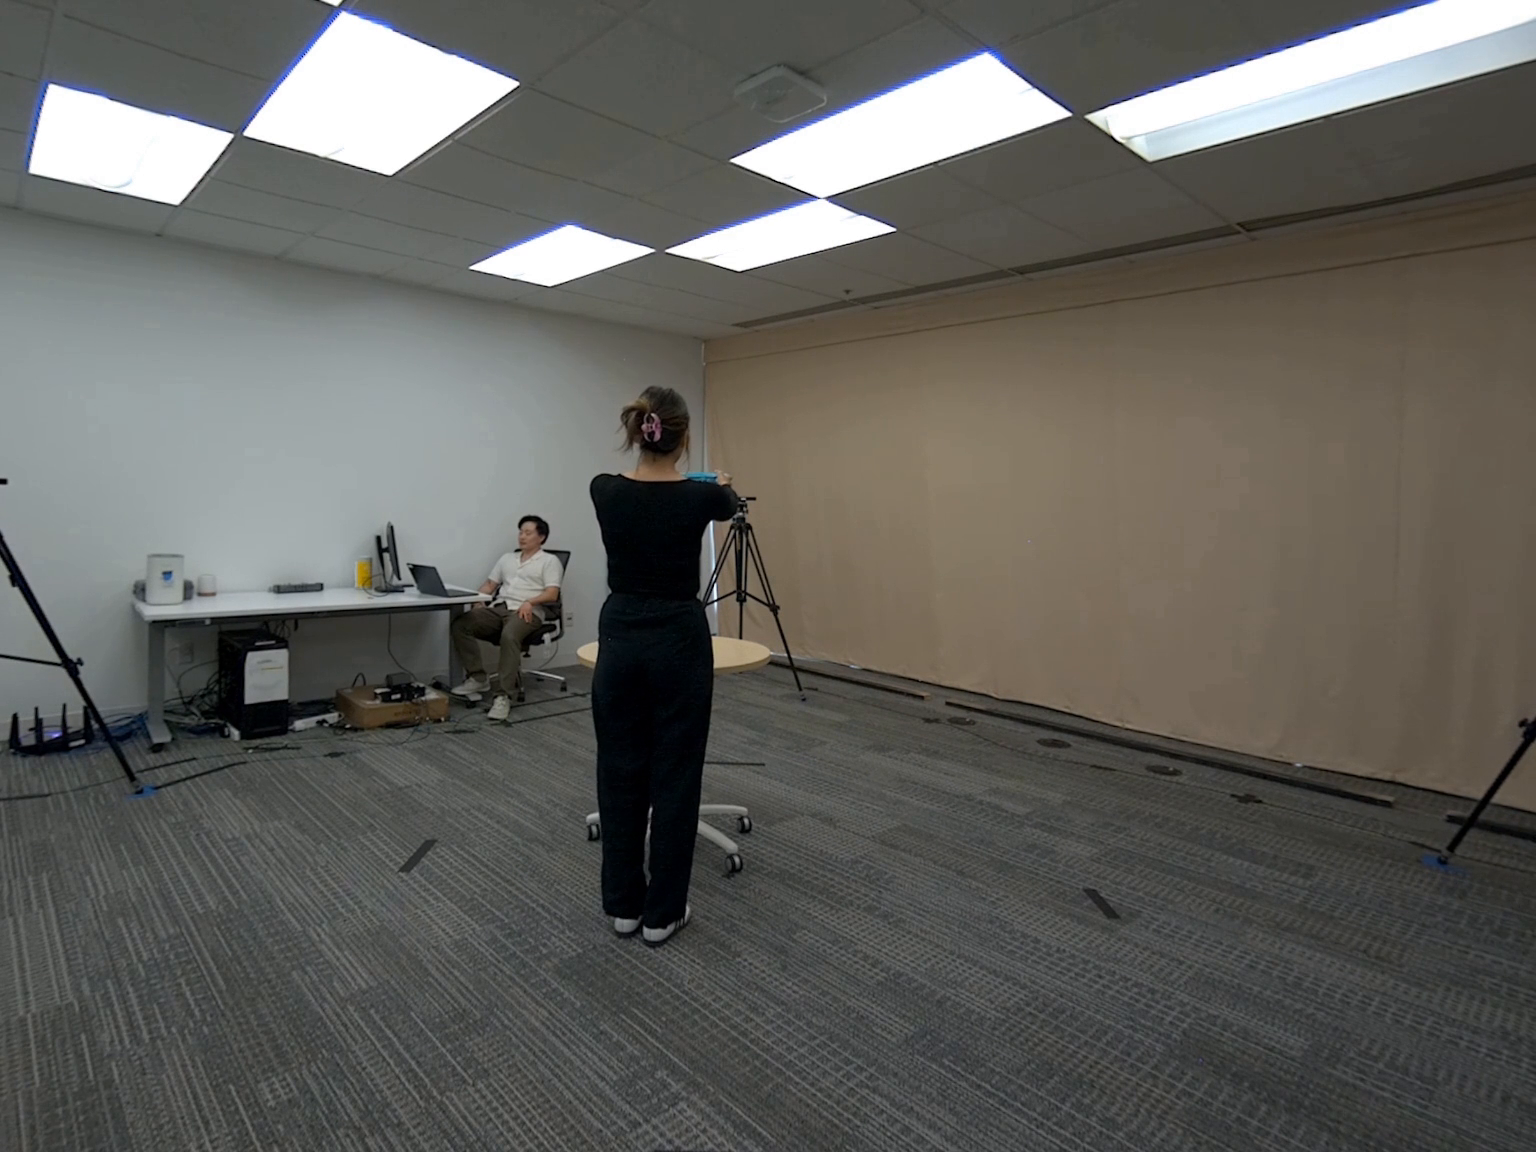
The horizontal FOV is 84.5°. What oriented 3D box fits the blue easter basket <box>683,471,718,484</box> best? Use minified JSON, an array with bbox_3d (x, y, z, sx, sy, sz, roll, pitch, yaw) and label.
[{"bbox_3d":[-0.281,-0.318,3.256,0.243,0.155,0.245,1,6,-1],"label":"blue easter basket"}]
